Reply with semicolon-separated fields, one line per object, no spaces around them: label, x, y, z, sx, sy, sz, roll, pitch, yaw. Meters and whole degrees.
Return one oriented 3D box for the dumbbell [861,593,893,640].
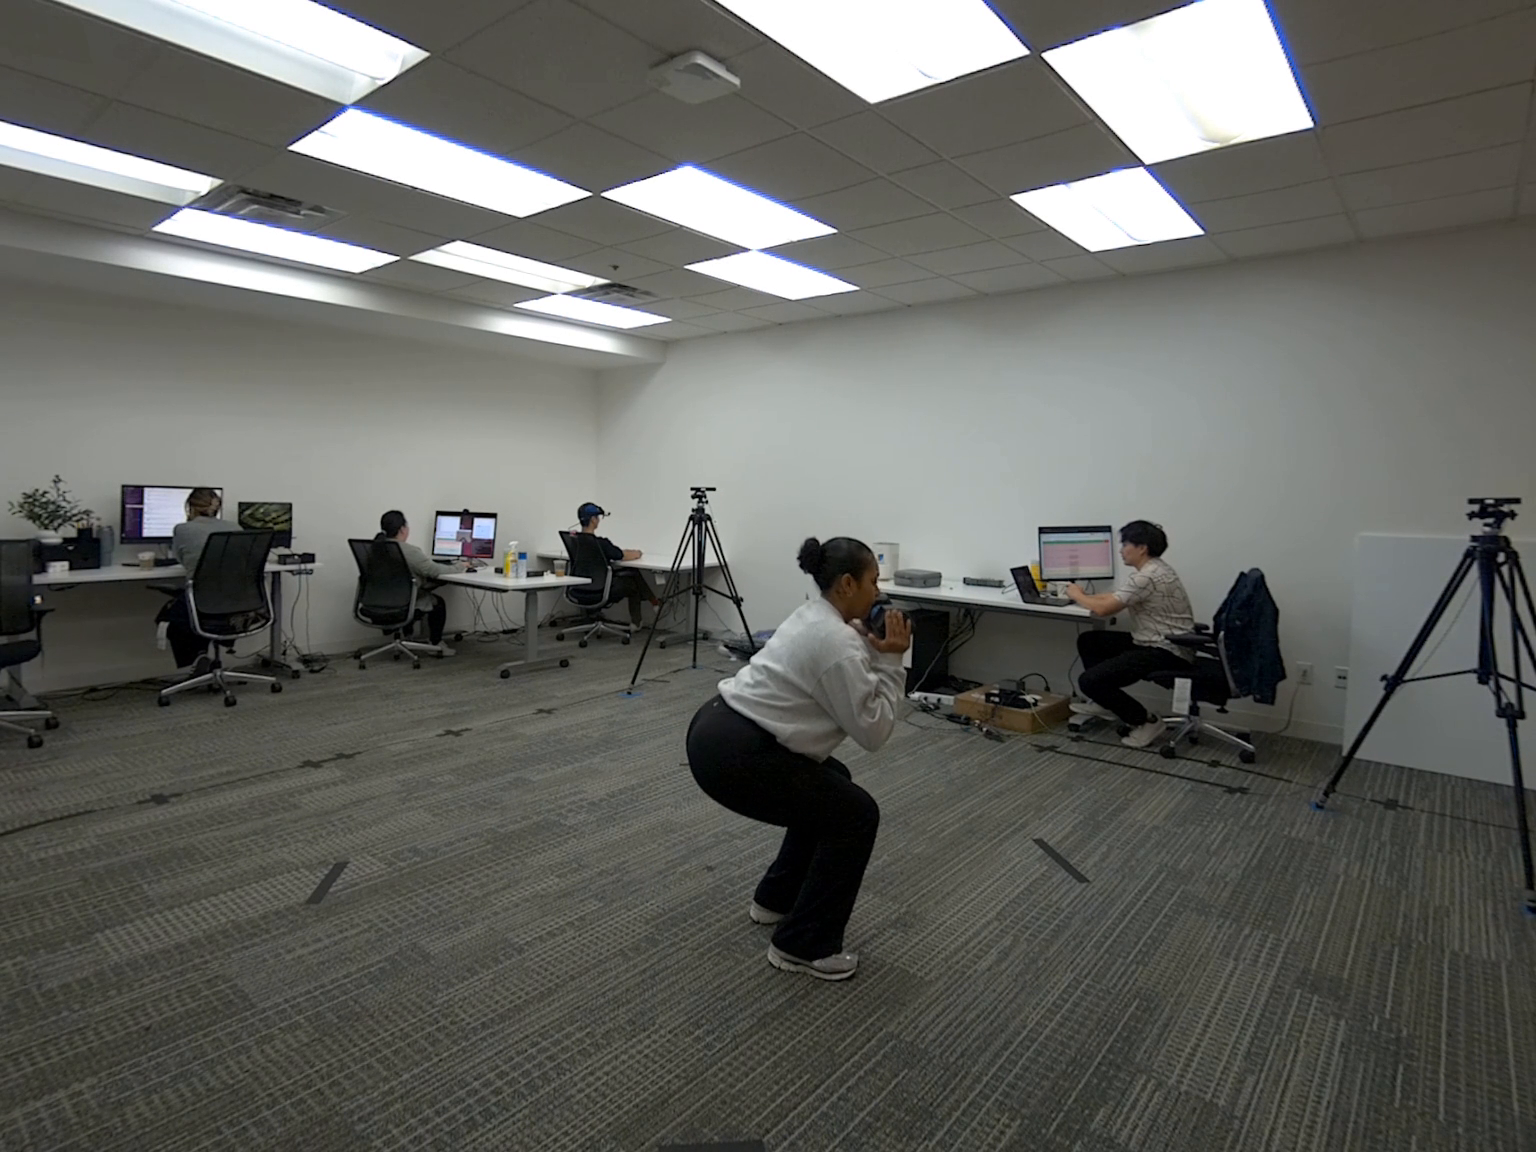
dumbbell;0.349;0.118;2.589;0.108;0.122;0.297;-32;9;-4
